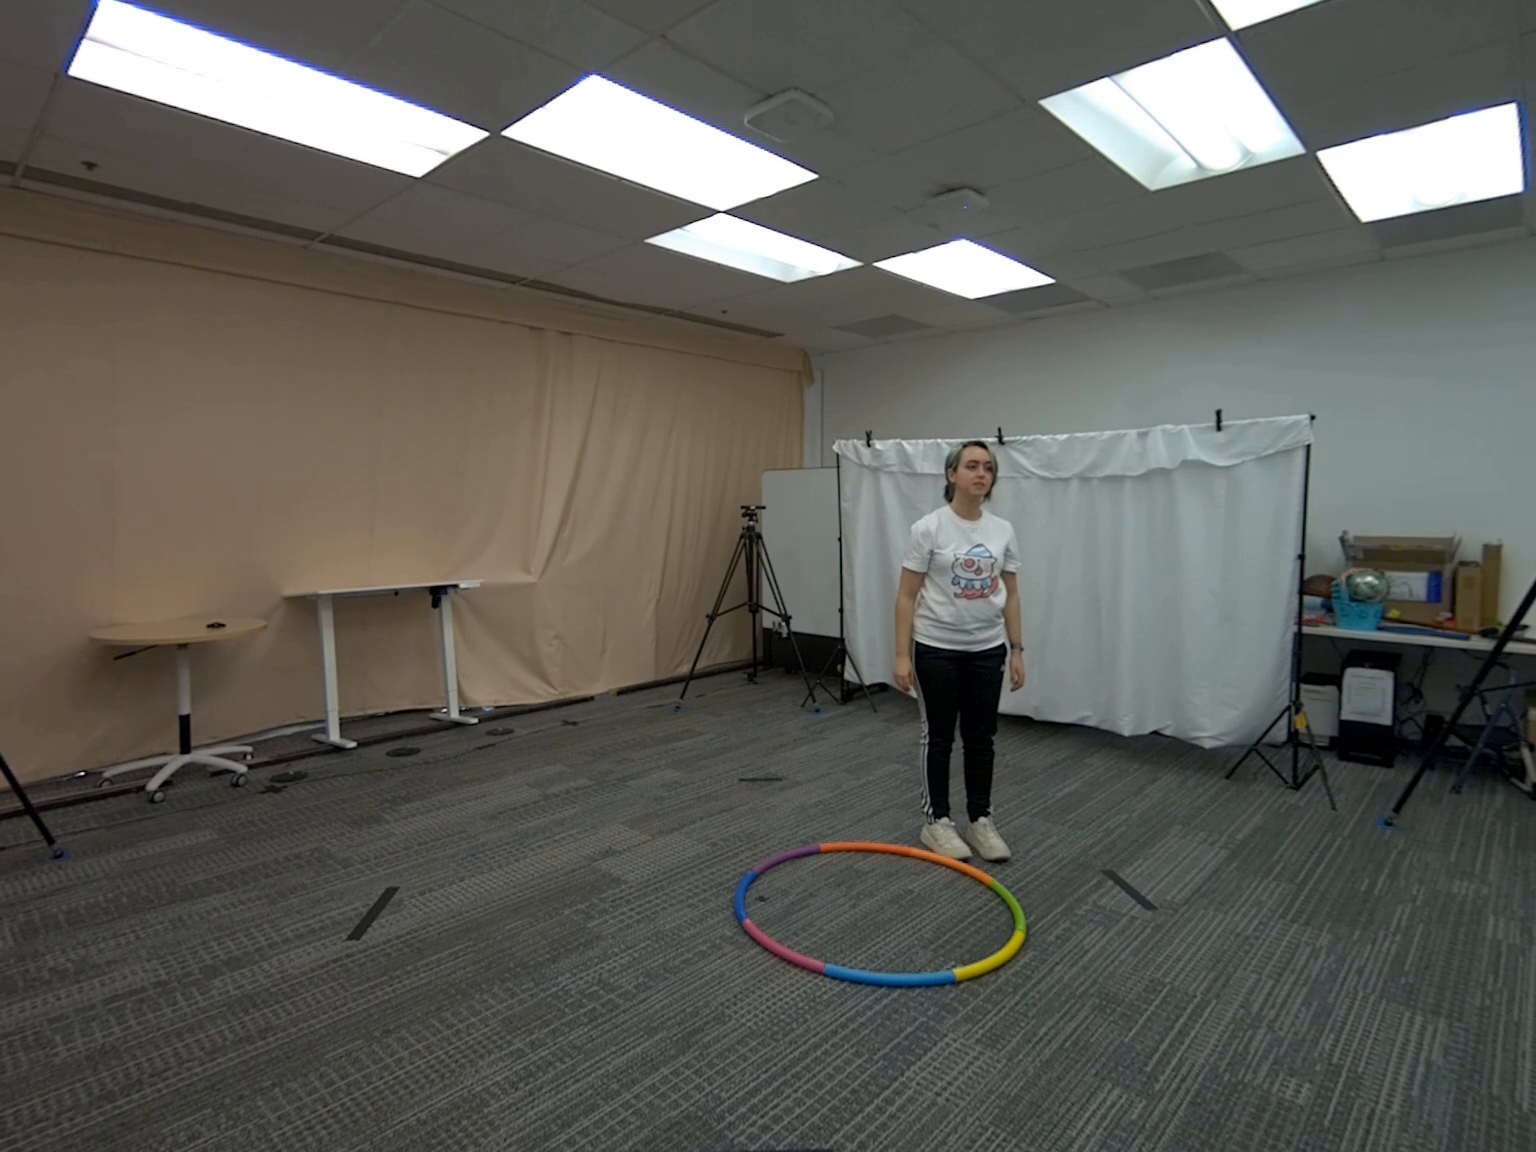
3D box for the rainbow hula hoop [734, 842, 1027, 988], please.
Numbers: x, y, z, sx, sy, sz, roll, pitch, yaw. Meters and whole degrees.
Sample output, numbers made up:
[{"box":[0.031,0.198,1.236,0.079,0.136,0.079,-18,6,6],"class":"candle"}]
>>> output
[{"box":[0.372,1.119,2.917,0.978,0.035,0.982,-1,5,-2],"class":"rainbow hula hoop"}]
